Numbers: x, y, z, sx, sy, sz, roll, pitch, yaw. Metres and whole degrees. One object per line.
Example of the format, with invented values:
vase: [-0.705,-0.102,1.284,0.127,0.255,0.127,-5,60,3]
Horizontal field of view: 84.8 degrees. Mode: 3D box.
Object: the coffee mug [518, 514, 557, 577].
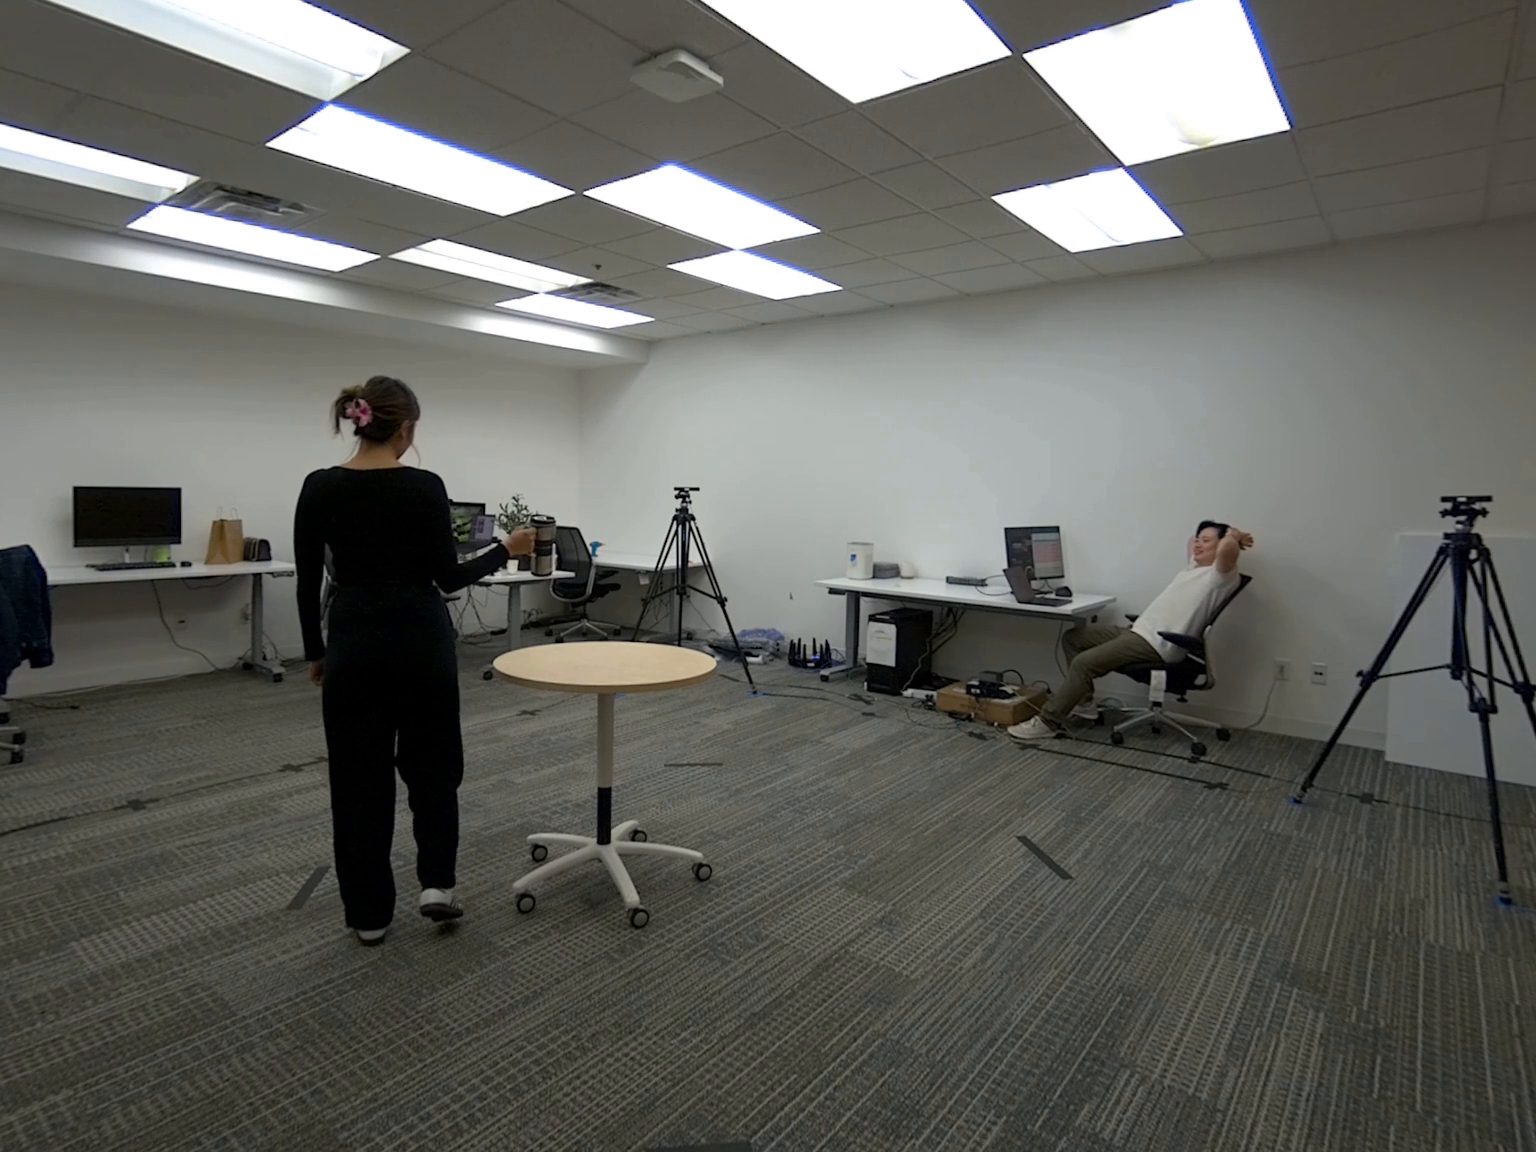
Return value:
coffee mug: [-0.799,-0.102,2.873,0.119,0.201,0.091,-2,15,-29]
